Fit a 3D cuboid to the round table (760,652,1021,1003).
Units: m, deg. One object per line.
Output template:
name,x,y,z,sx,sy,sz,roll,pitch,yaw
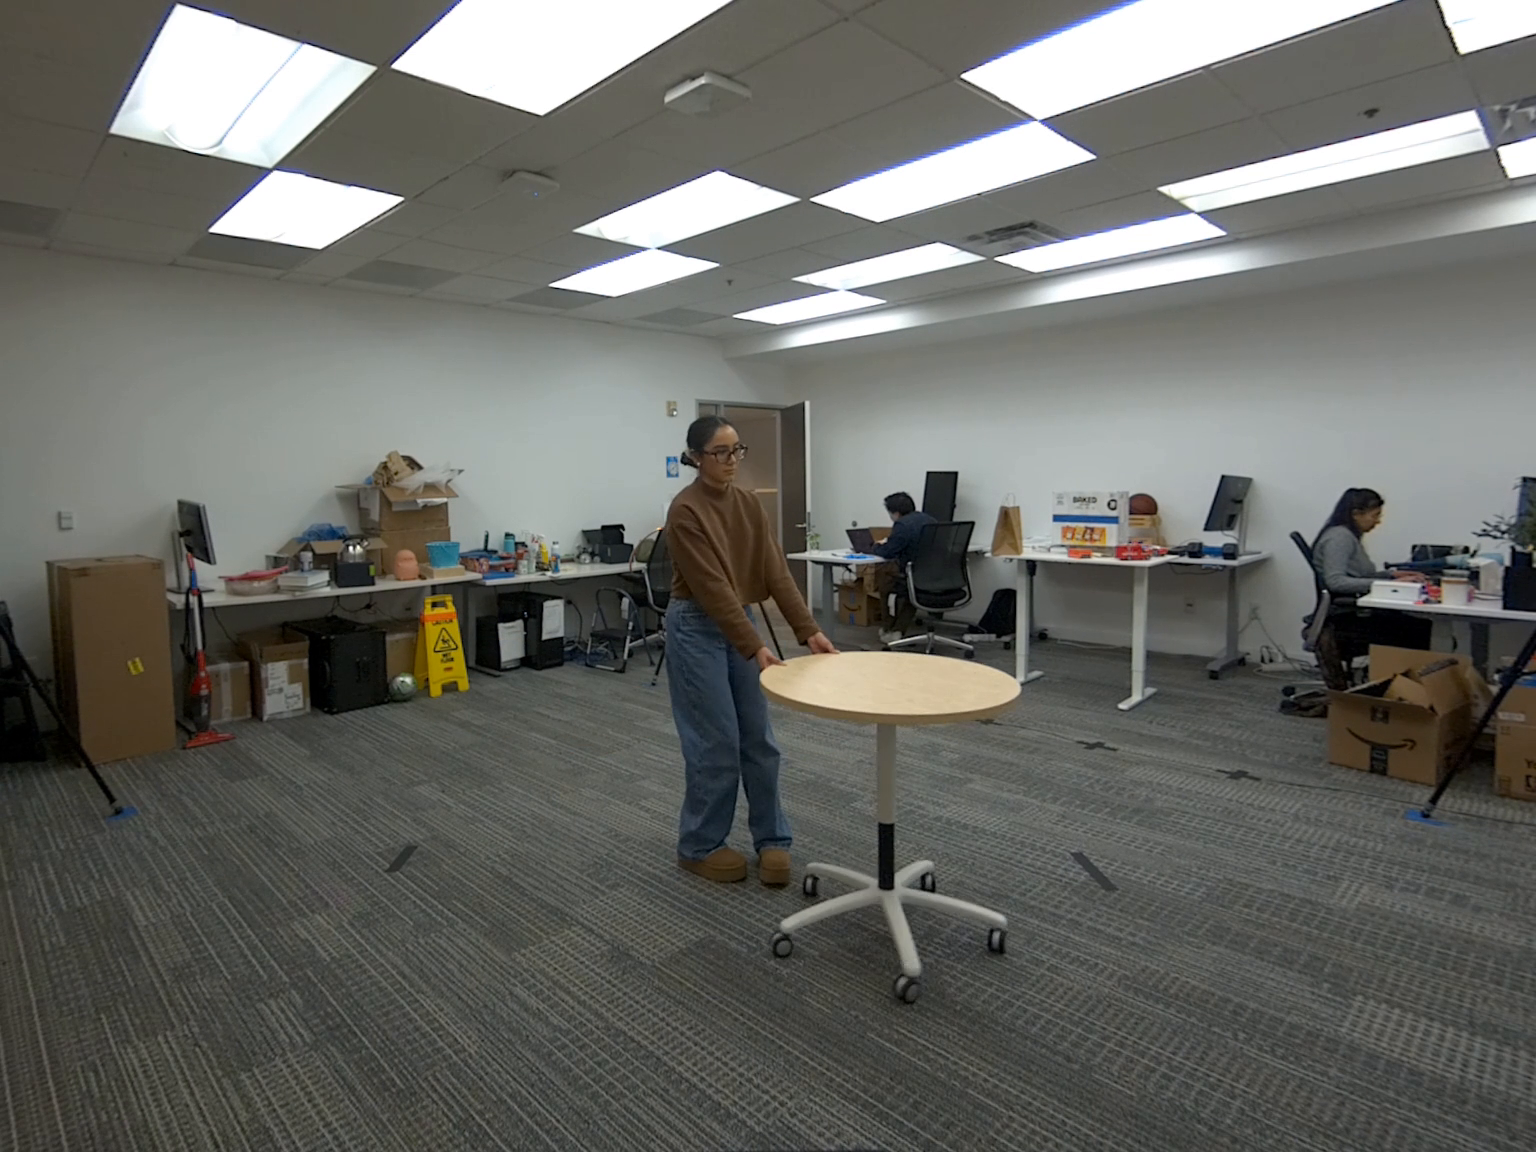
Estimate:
round table,0.335,0.699,2.604,0.784,0.783,0.789,0,5,-2
